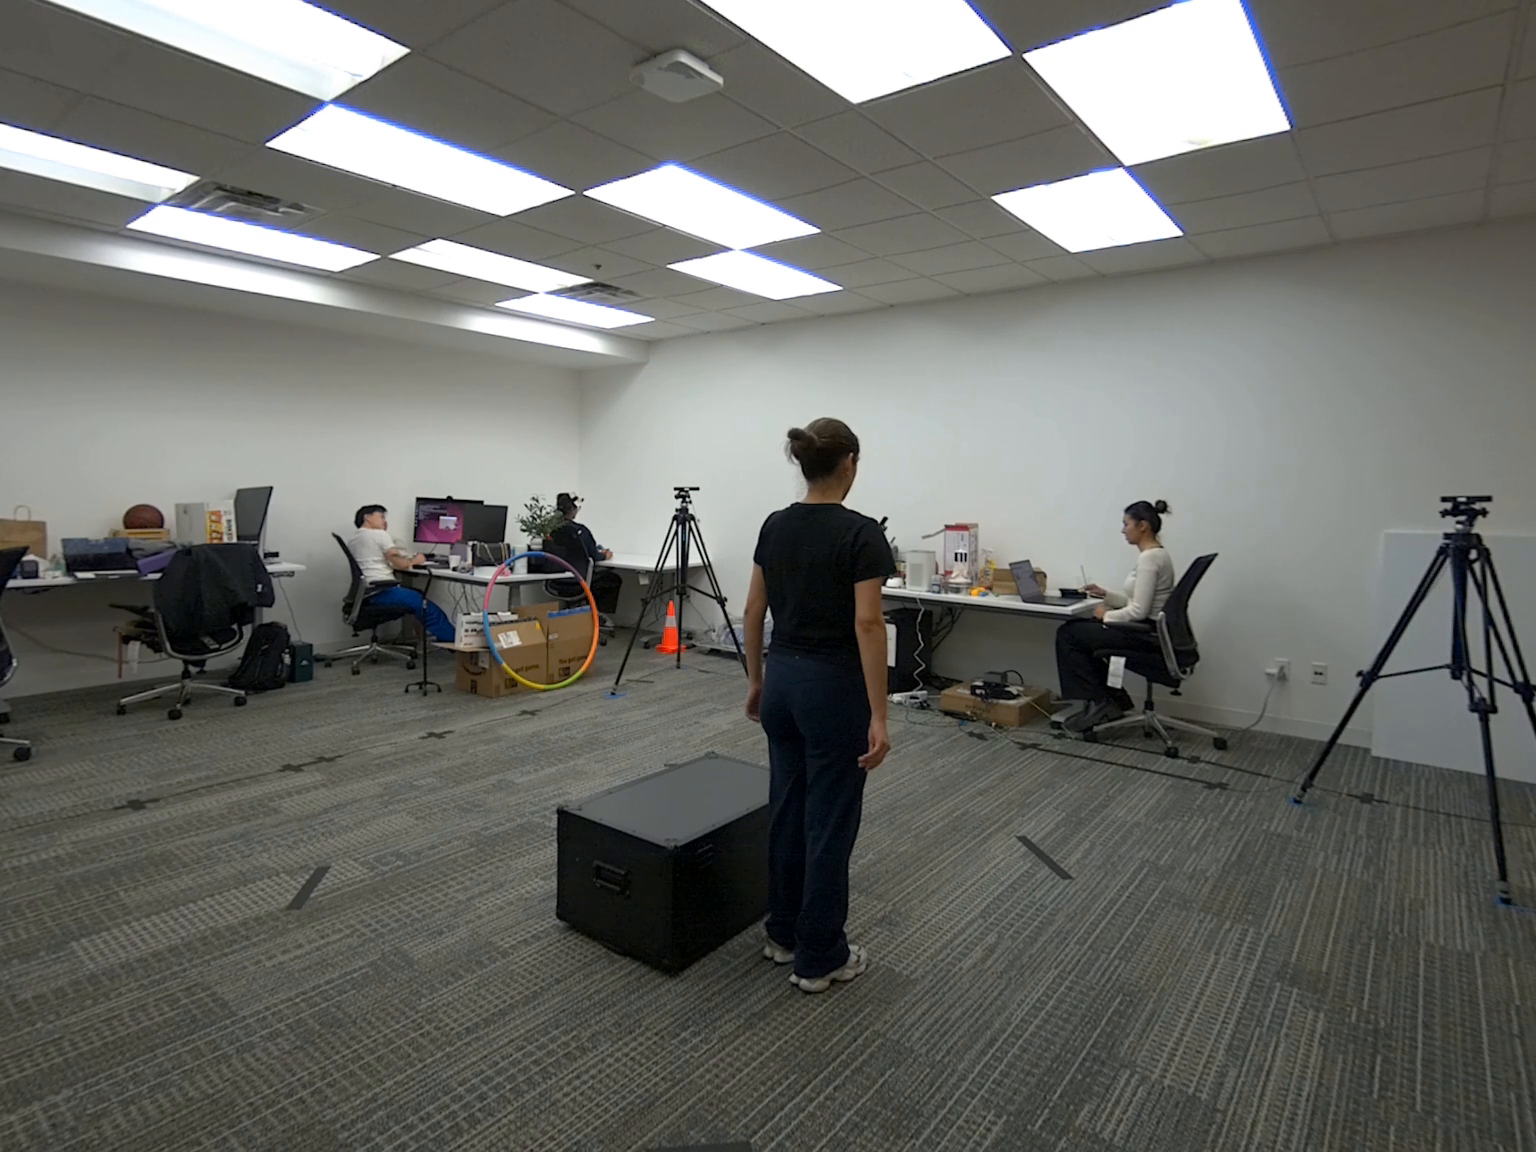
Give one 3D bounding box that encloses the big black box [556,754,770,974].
[{"bbox_3d":[-0.219,0.900,2.869,0.538,0.394,0.837,5,7,36],"label":"big black box"}]
